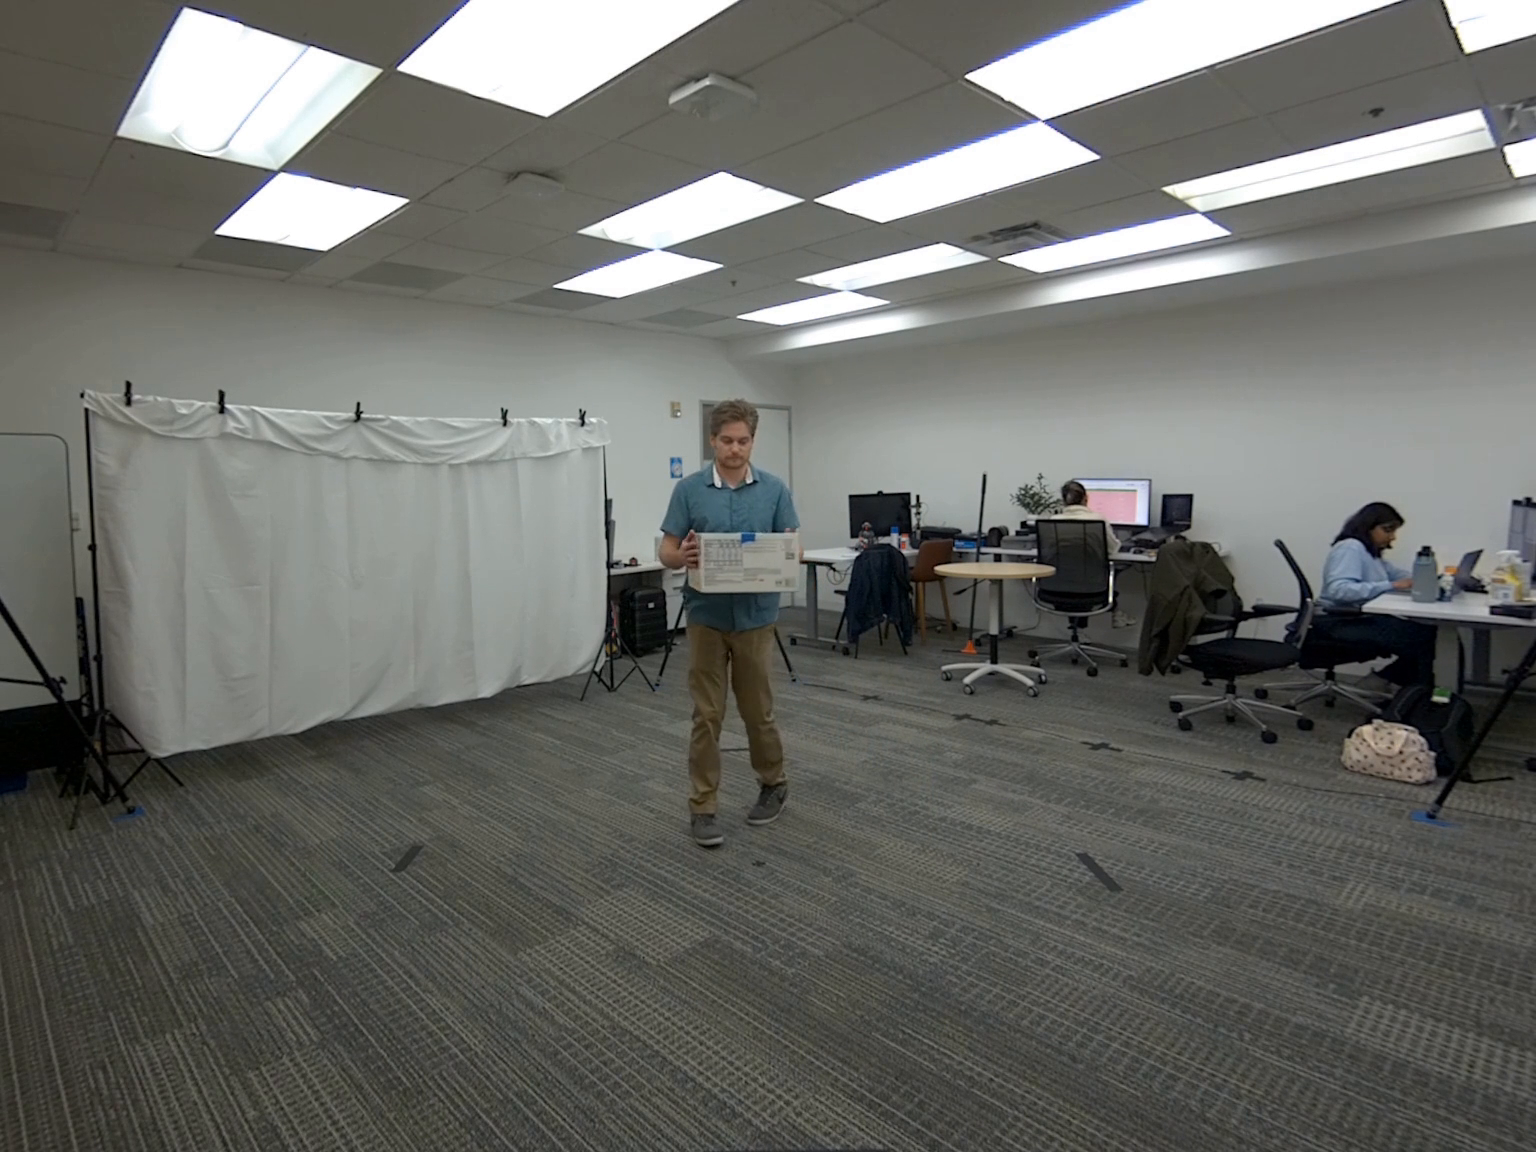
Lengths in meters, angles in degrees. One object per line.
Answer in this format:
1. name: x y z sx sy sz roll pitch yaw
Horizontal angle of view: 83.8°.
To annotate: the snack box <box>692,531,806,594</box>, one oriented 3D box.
1. snack box: -0.084 -0.057 3.100 0.337 0.205 0.409 -2 3 -10
